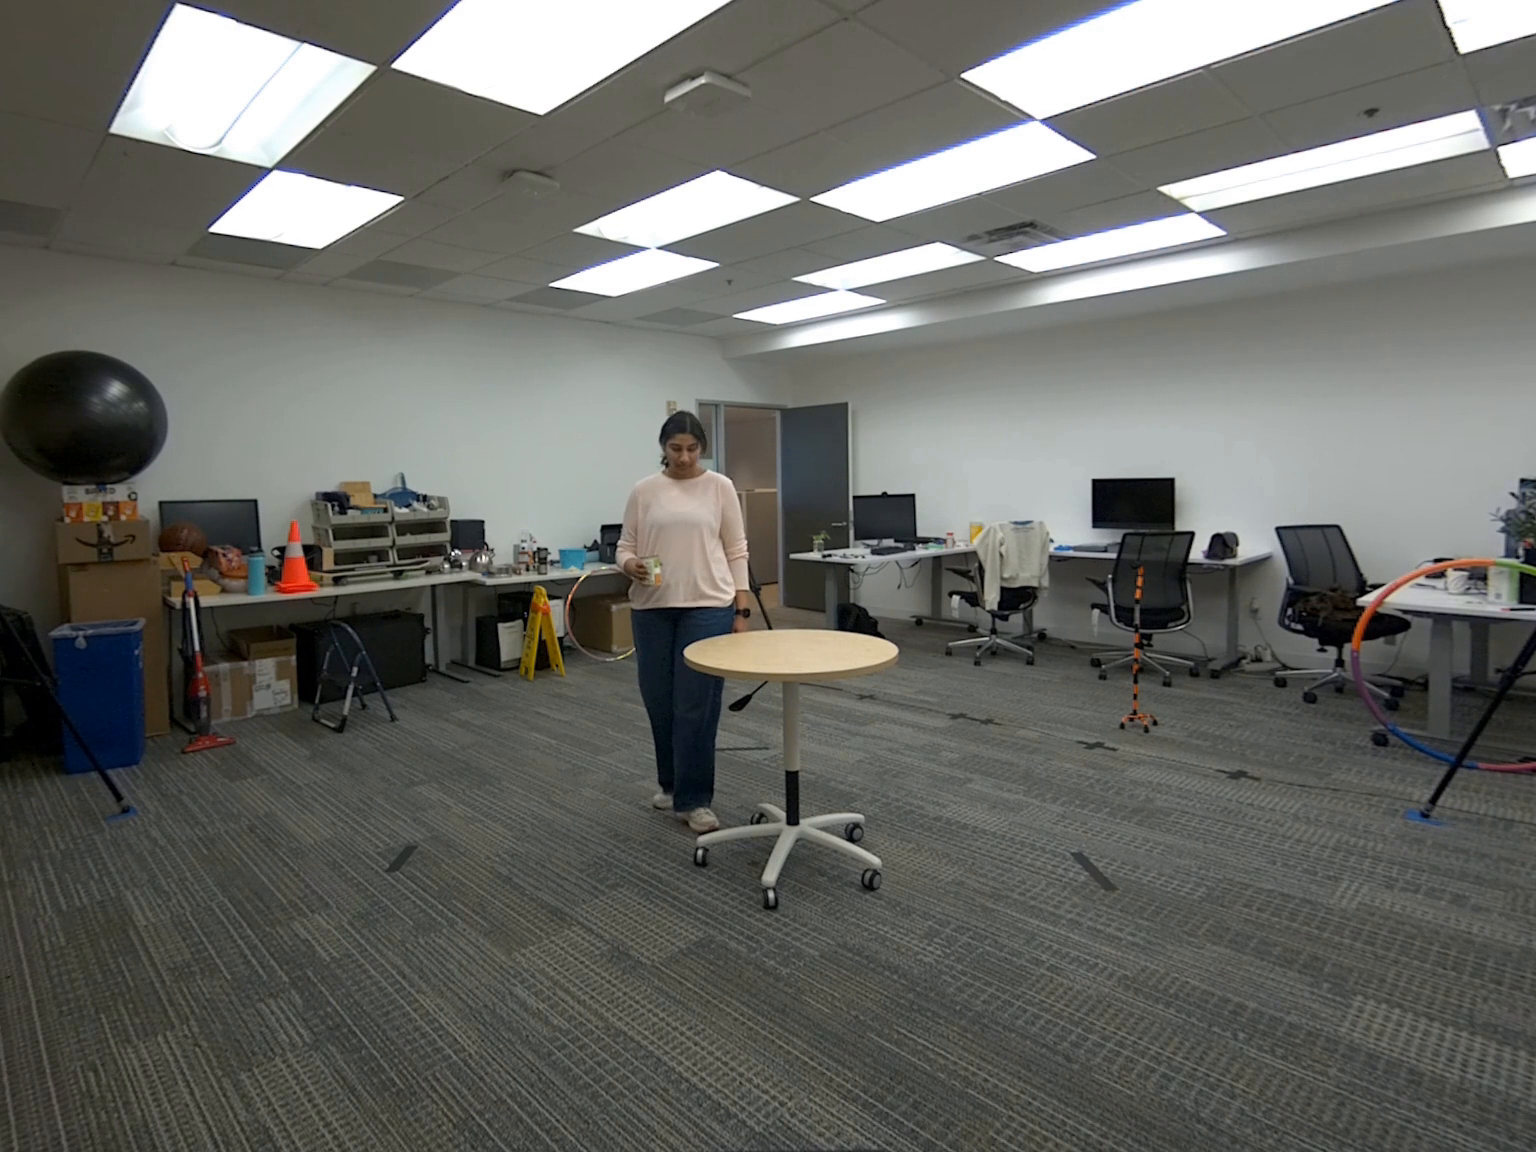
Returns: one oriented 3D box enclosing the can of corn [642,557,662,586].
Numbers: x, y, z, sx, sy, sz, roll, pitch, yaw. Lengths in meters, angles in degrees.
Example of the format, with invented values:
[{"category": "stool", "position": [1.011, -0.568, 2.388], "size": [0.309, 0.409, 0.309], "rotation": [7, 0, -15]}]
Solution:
[{"category": "can of corn", "position": [-0.465, -0.014, 3.270], "size": [0.074, 0.111, 0.074], "rotation": [-5, 1, -2]}]
